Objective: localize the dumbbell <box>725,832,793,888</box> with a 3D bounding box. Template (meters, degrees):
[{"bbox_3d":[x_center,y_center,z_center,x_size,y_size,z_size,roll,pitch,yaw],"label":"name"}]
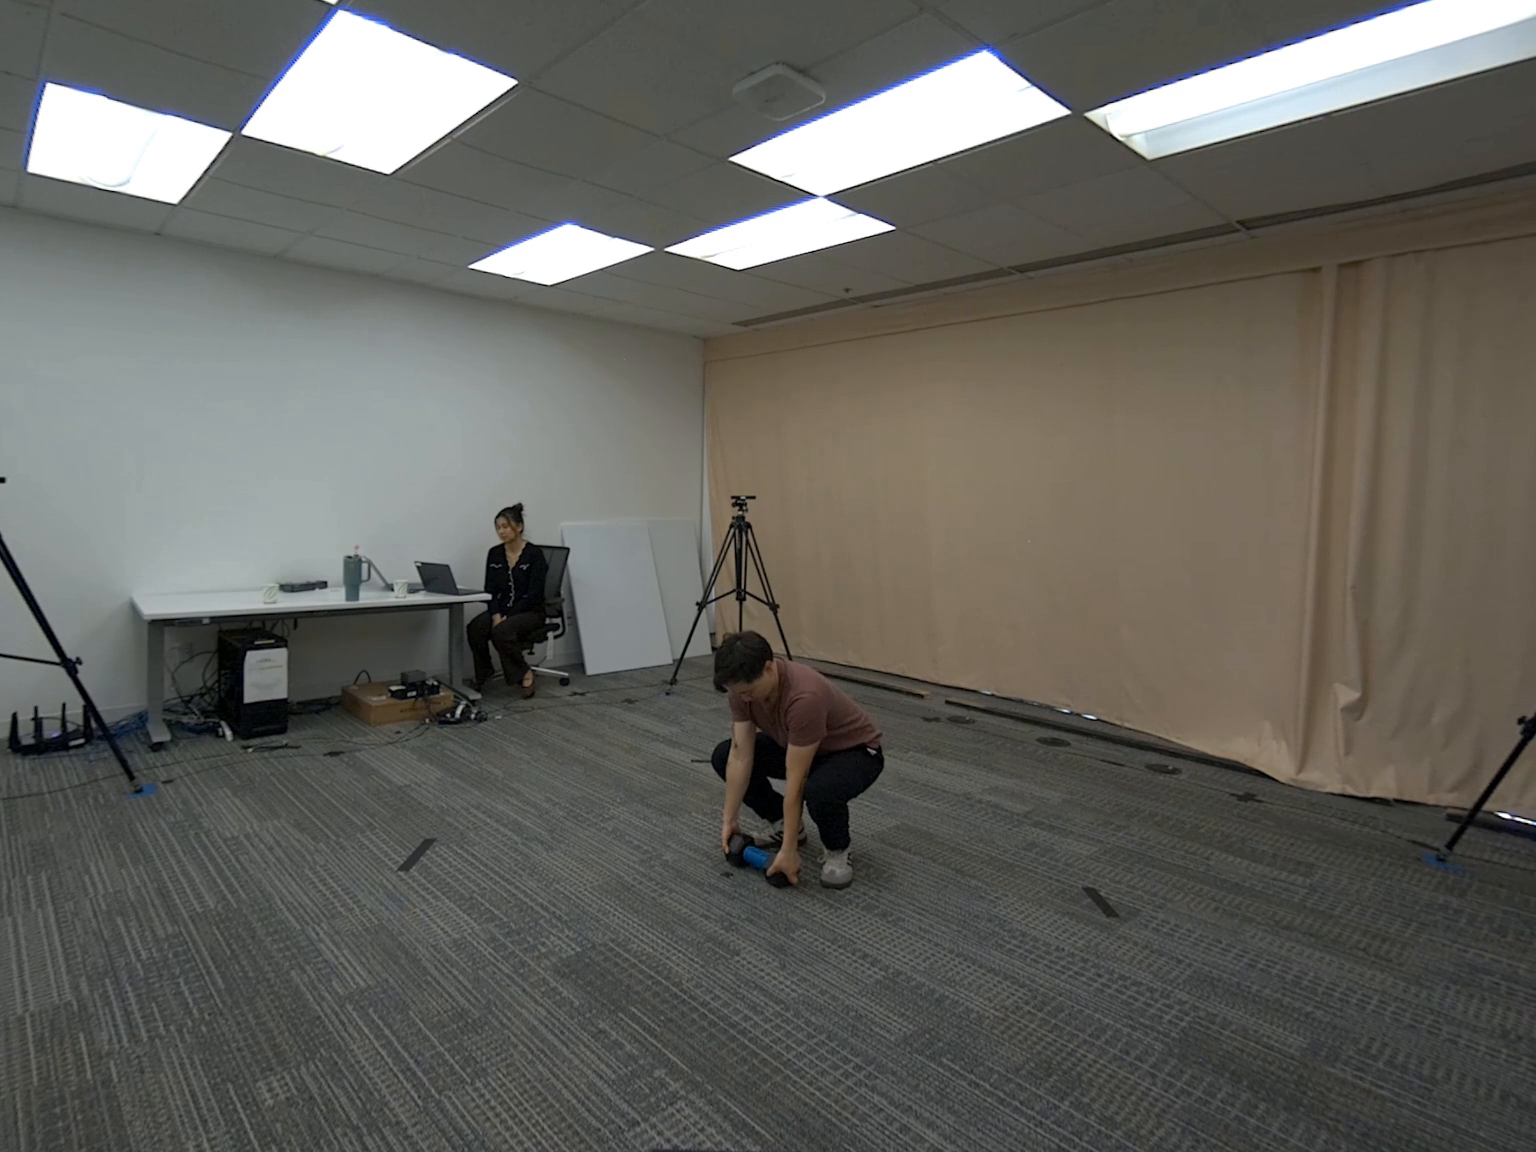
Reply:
[{"bbox_3d":[-0.034,1.037,3.124,0.301,0.123,0.105,9,-33,45],"label":"dumbbell"}]
